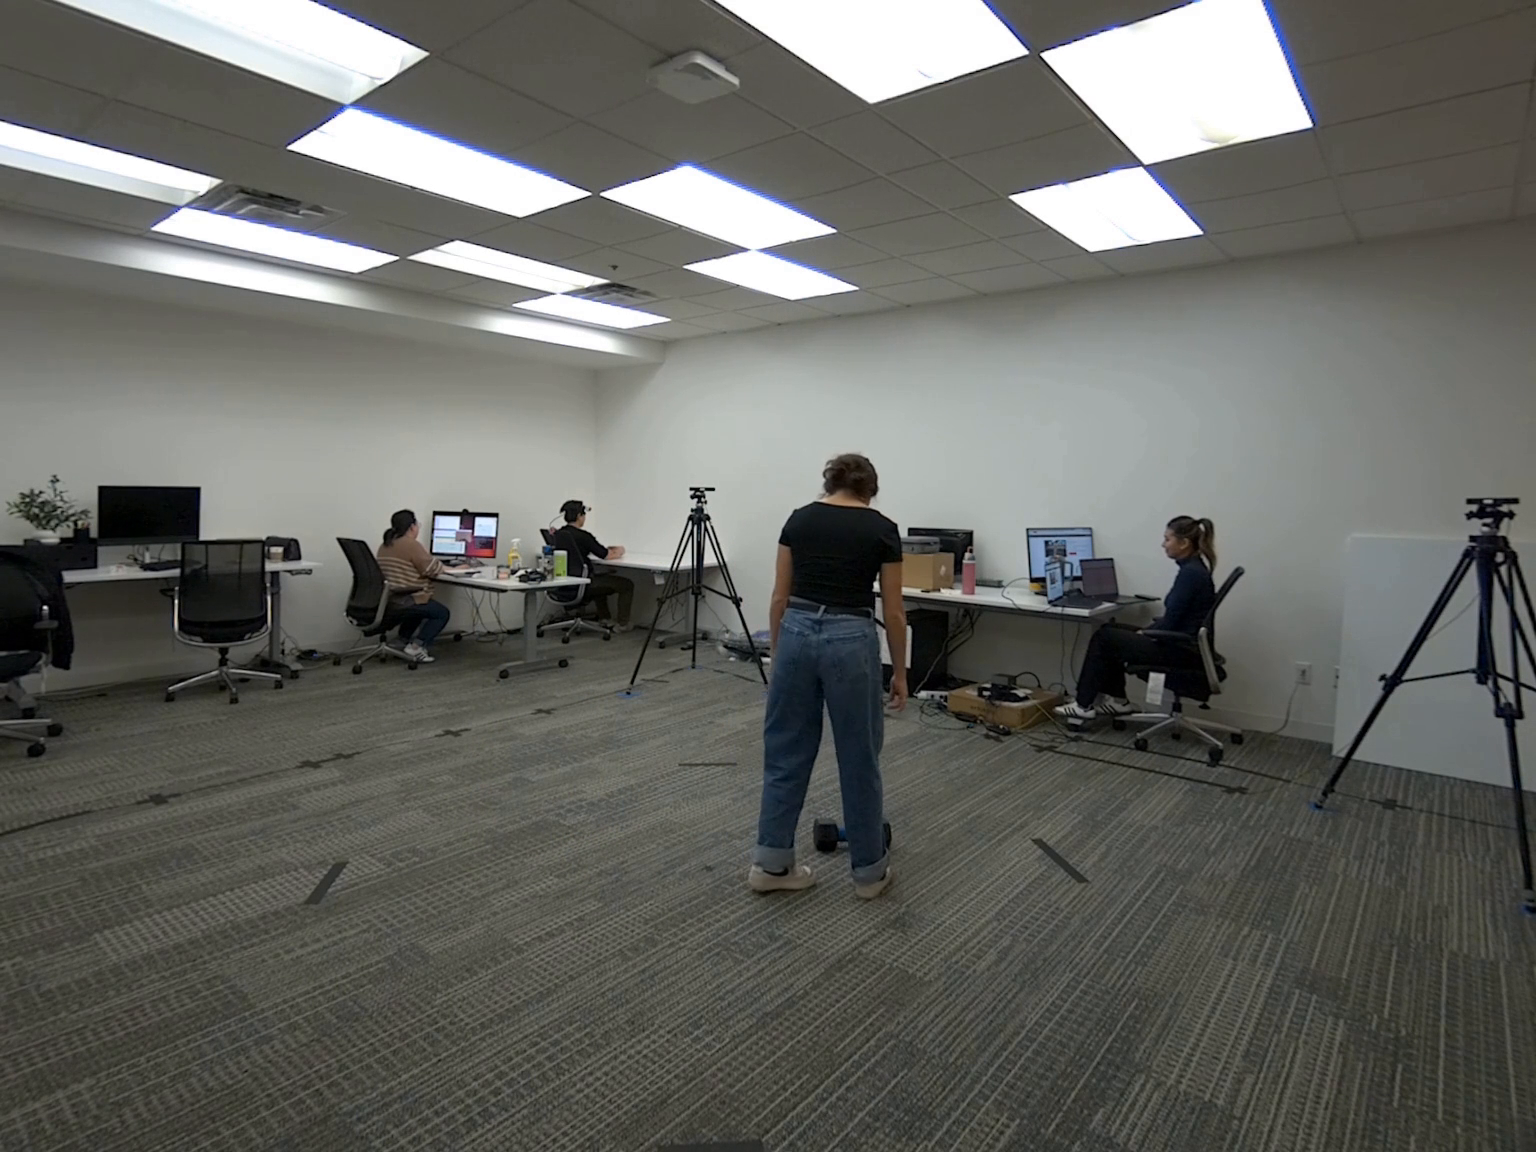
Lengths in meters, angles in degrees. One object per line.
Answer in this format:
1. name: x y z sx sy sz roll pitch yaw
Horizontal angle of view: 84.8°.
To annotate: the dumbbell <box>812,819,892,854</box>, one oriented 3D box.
1. dumbbell: 0.321 1.004 3.323 0.292 0.120 0.112 1 34 -6
